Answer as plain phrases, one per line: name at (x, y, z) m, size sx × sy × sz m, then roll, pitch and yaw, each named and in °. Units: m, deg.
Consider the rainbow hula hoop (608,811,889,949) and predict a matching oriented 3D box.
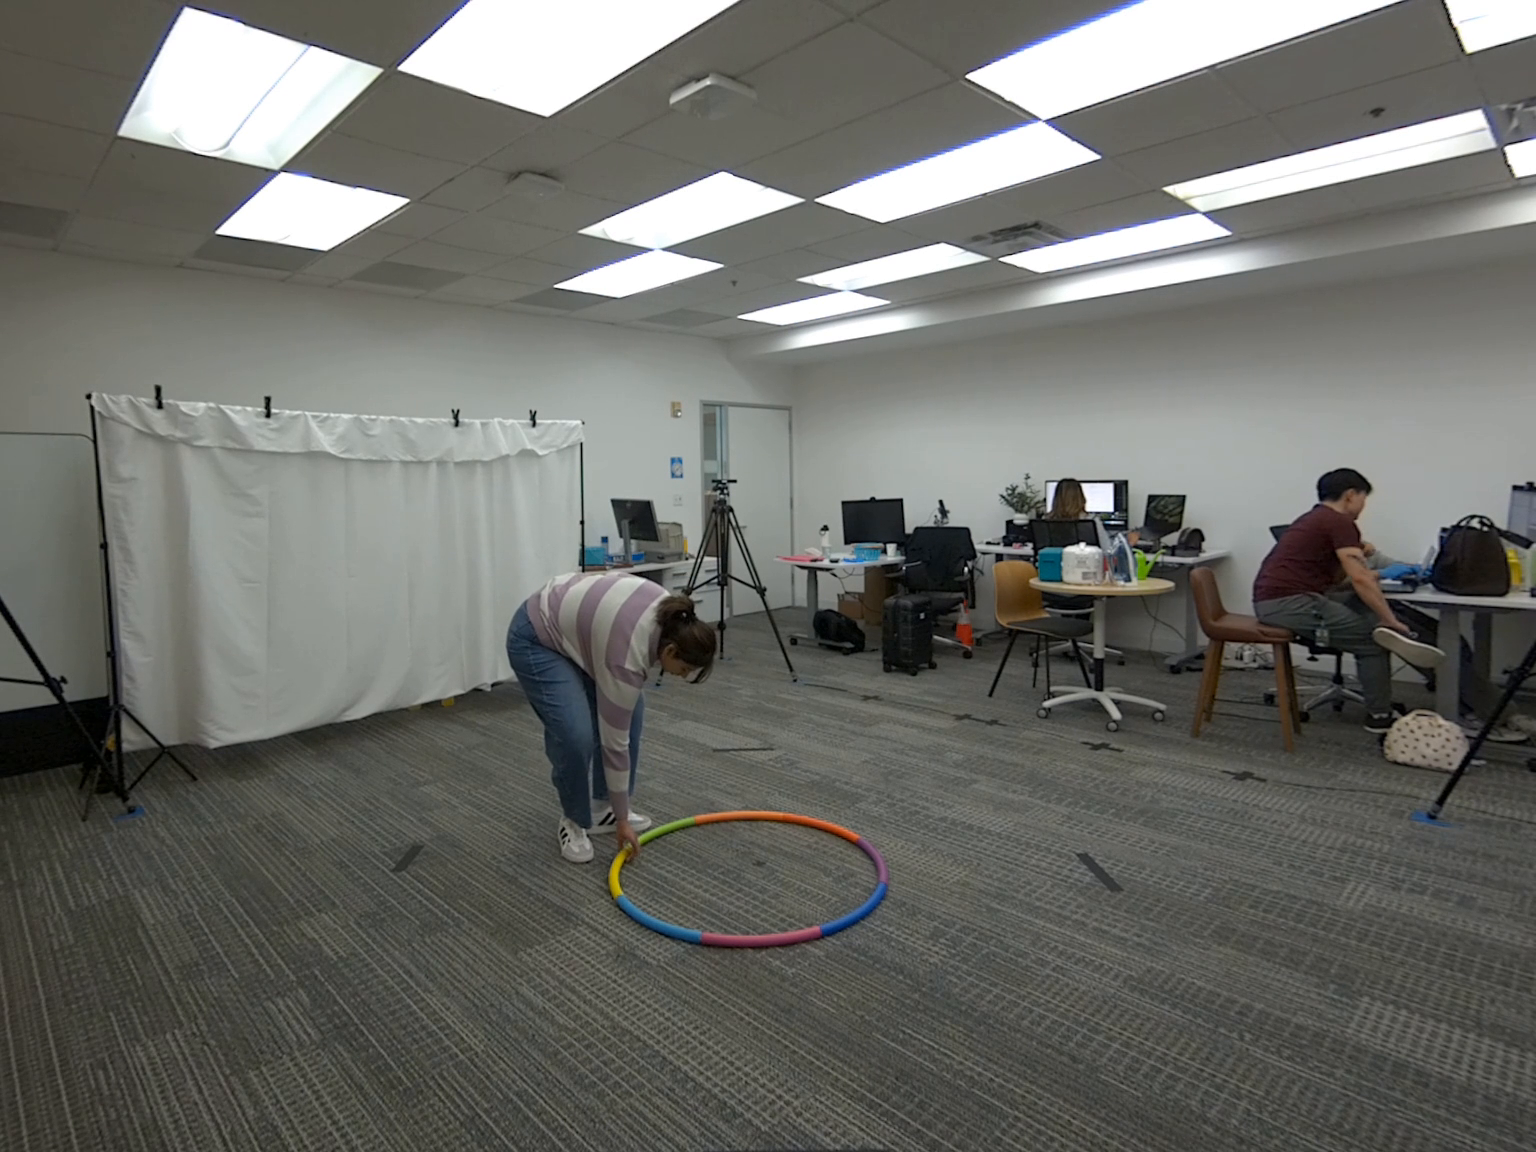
rainbow hula hoop at (-0.072, 1.021, 3.034) m, size 0.978 × 0.035 × 0.984 m, roll -1°, pitch 7°, yaw -2°
